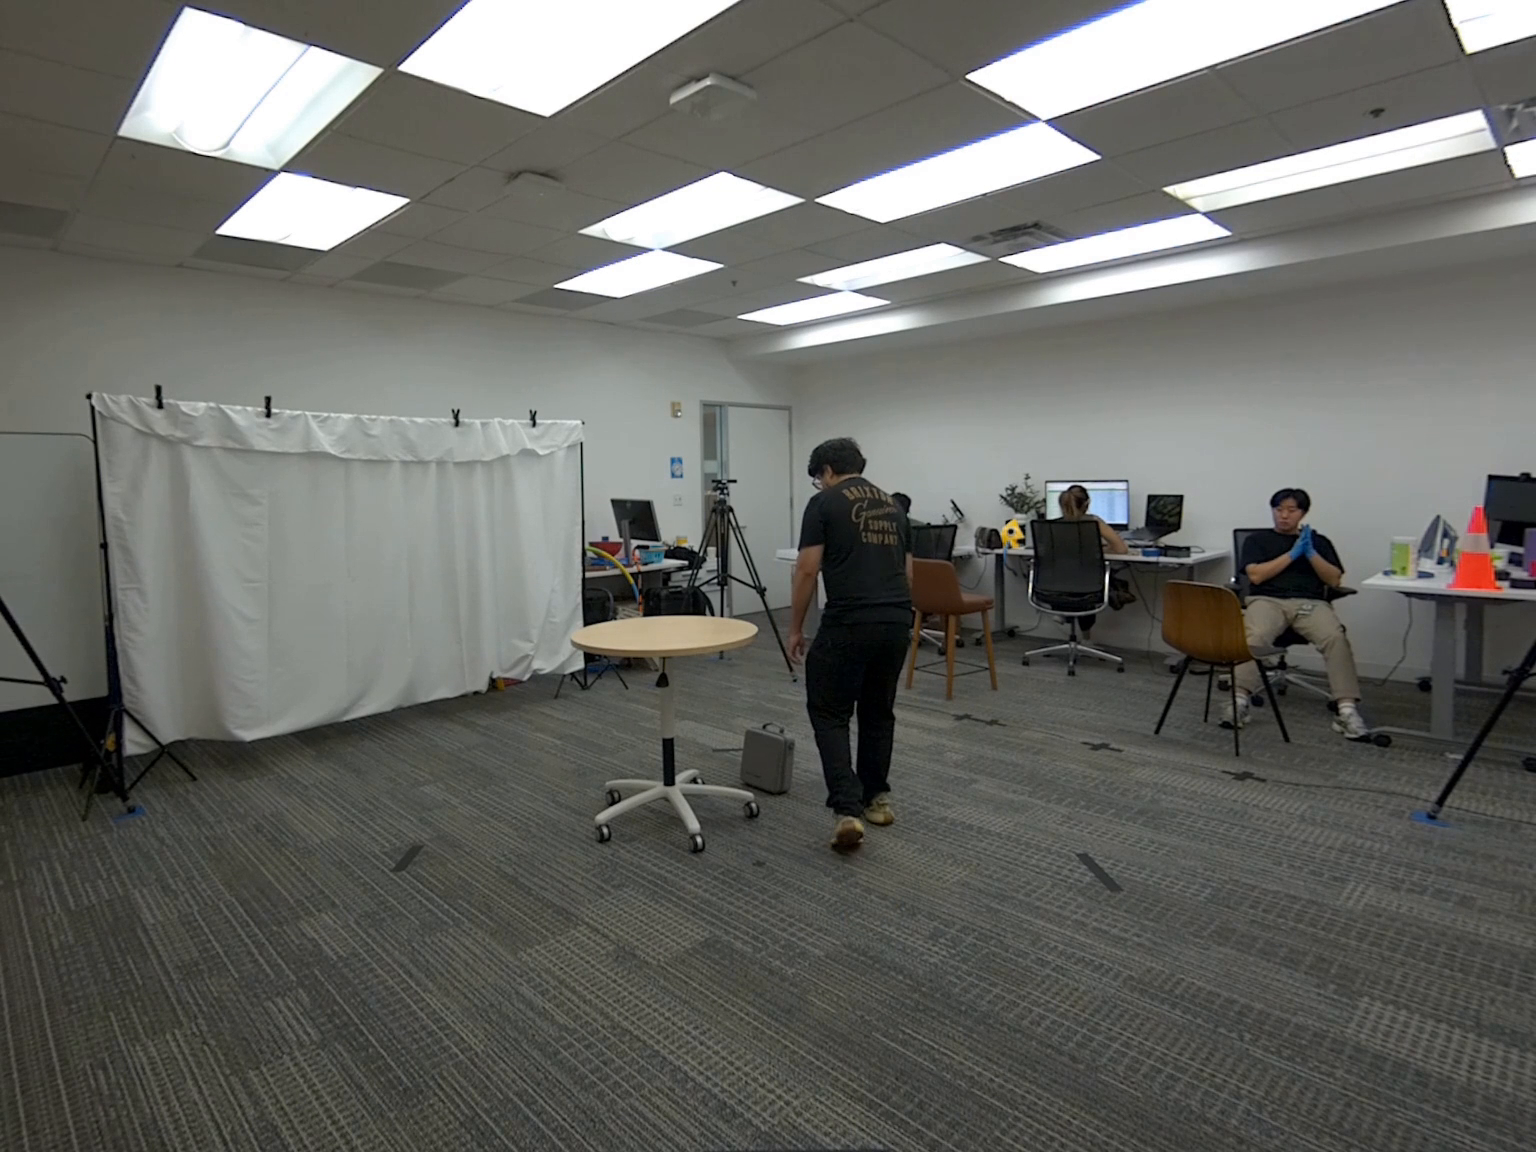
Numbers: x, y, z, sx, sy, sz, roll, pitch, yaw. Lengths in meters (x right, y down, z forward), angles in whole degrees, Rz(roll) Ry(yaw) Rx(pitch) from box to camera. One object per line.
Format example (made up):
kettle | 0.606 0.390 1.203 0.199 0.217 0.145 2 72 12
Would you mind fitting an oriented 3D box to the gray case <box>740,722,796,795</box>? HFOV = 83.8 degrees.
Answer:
gray case | -0.002 0.827 3.887 0.101 0.261 0.264 10 -5 -41
